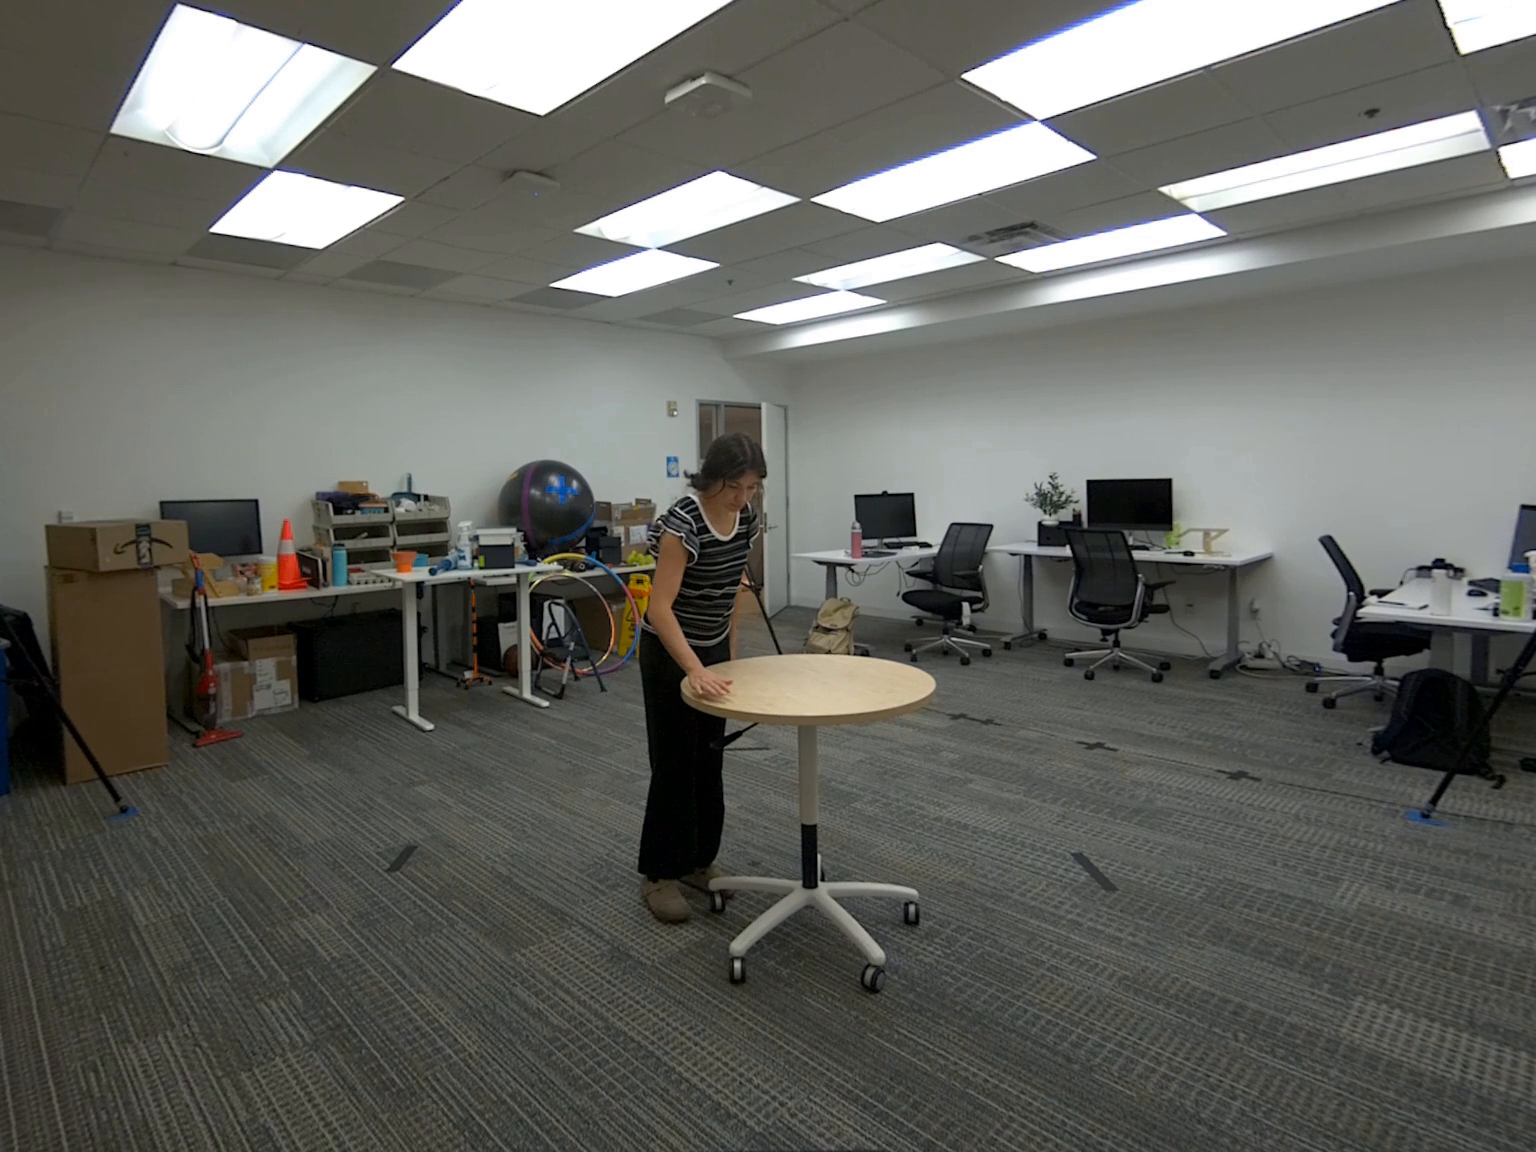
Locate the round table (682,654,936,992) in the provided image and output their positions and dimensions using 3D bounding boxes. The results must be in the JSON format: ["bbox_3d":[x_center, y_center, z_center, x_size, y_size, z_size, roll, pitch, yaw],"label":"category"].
[{"bbox_3d":[0.135,0.711,2.612,0.763,0.791,0.768,-2,5,-2],"label":"round table"}]
